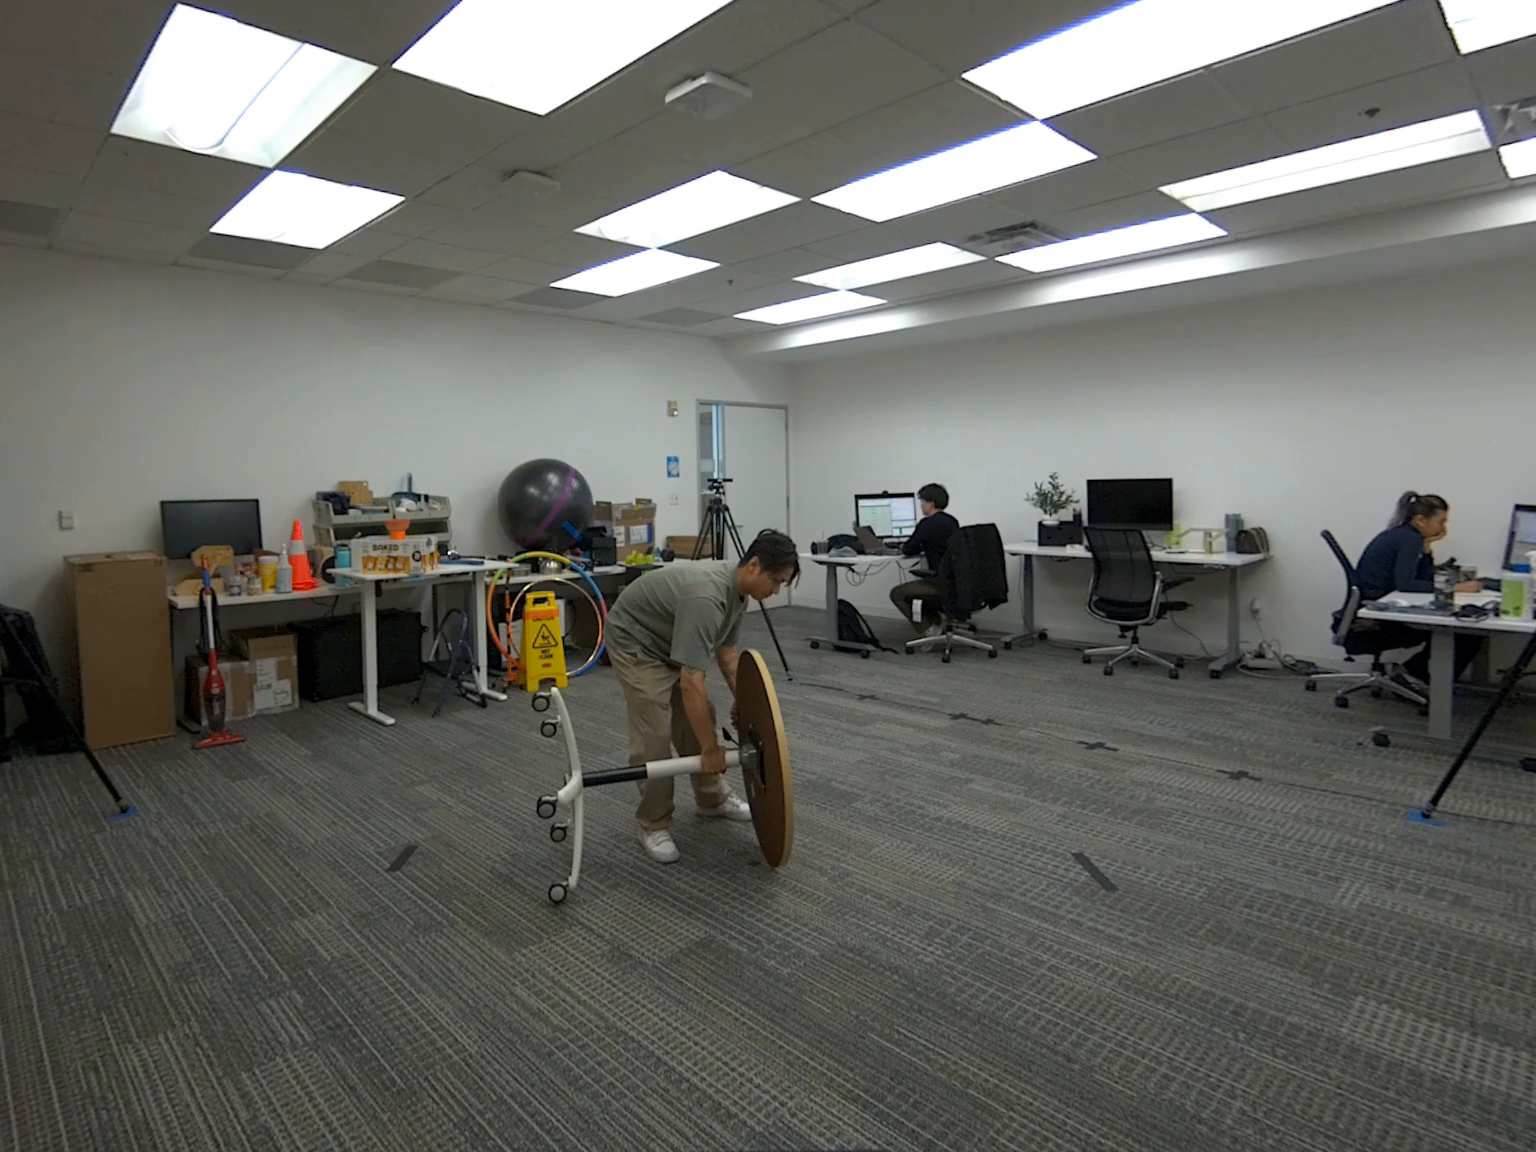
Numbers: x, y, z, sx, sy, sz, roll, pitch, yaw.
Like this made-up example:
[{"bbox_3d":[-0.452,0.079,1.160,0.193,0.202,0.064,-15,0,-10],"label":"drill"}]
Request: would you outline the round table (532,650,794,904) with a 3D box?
[{"bbox_3d":[-0.404,0.695,3.045,0.779,0.781,0.797,-7,6,-12],"label":"round table"}]
